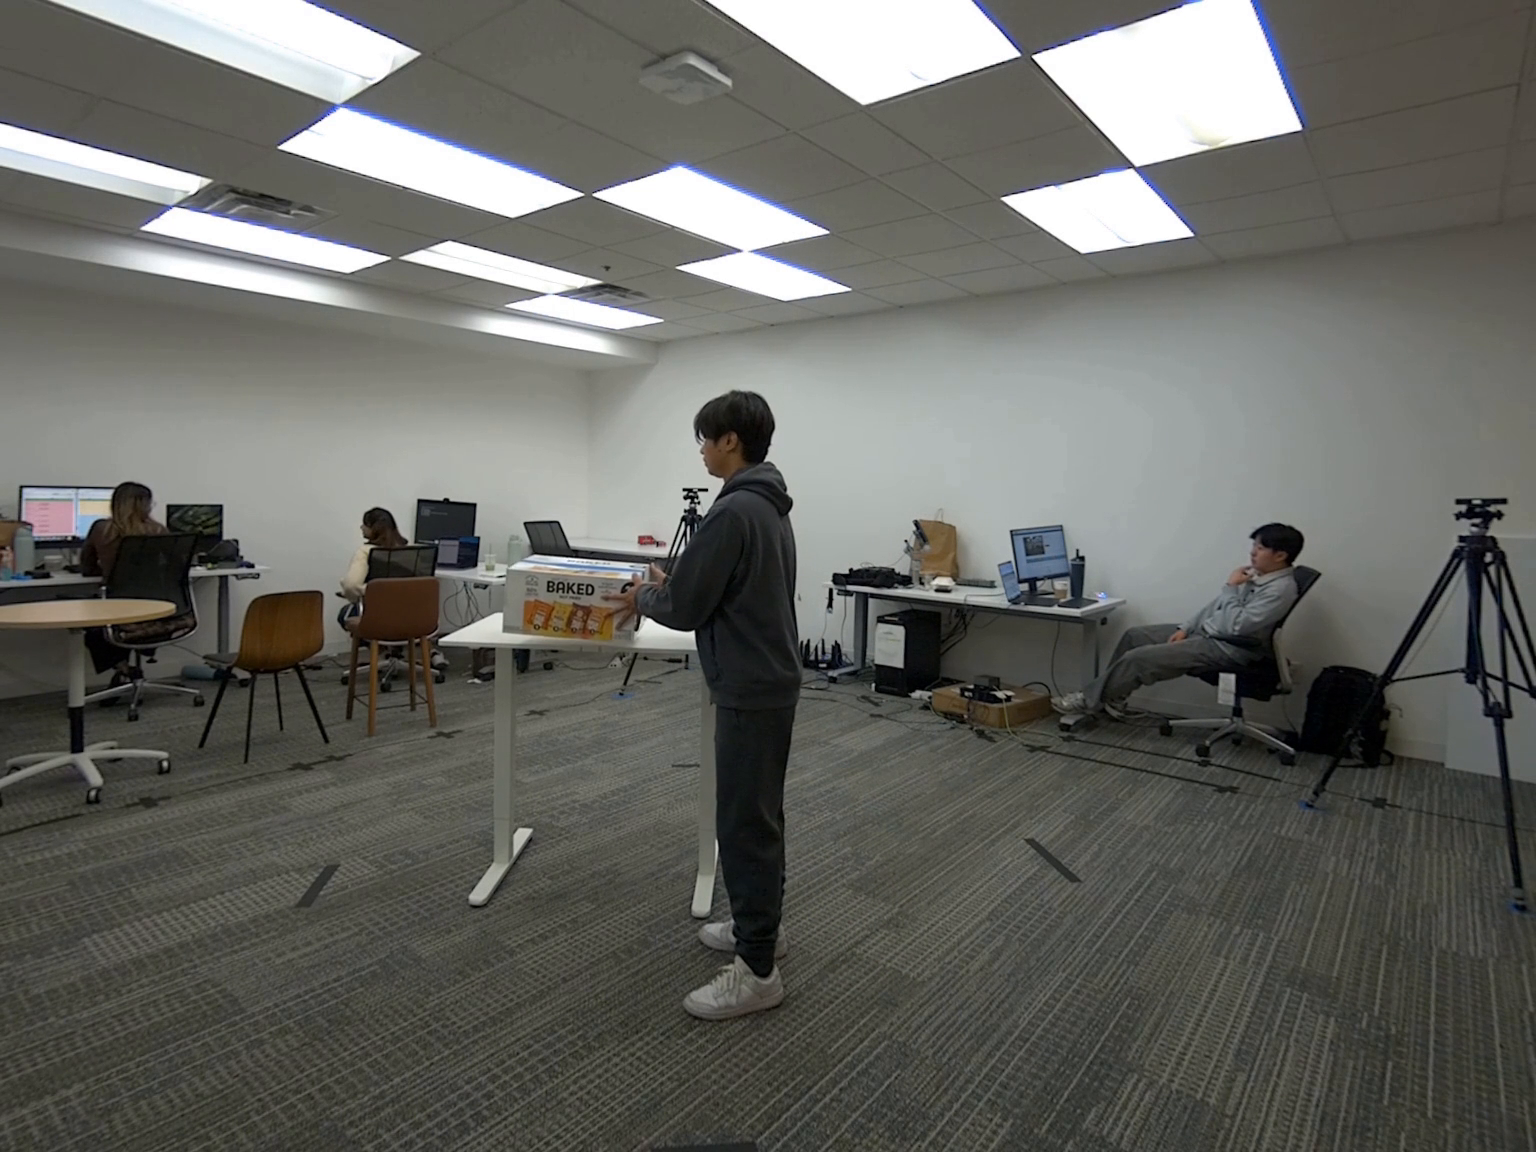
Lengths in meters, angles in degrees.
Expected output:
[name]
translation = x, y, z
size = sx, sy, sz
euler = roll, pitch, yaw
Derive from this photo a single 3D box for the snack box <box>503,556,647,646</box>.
[snack box]
translation = -0.623, 0.068, 2.753
size = 0.406, 0.204, 0.342
euler = 5, 9, 0
